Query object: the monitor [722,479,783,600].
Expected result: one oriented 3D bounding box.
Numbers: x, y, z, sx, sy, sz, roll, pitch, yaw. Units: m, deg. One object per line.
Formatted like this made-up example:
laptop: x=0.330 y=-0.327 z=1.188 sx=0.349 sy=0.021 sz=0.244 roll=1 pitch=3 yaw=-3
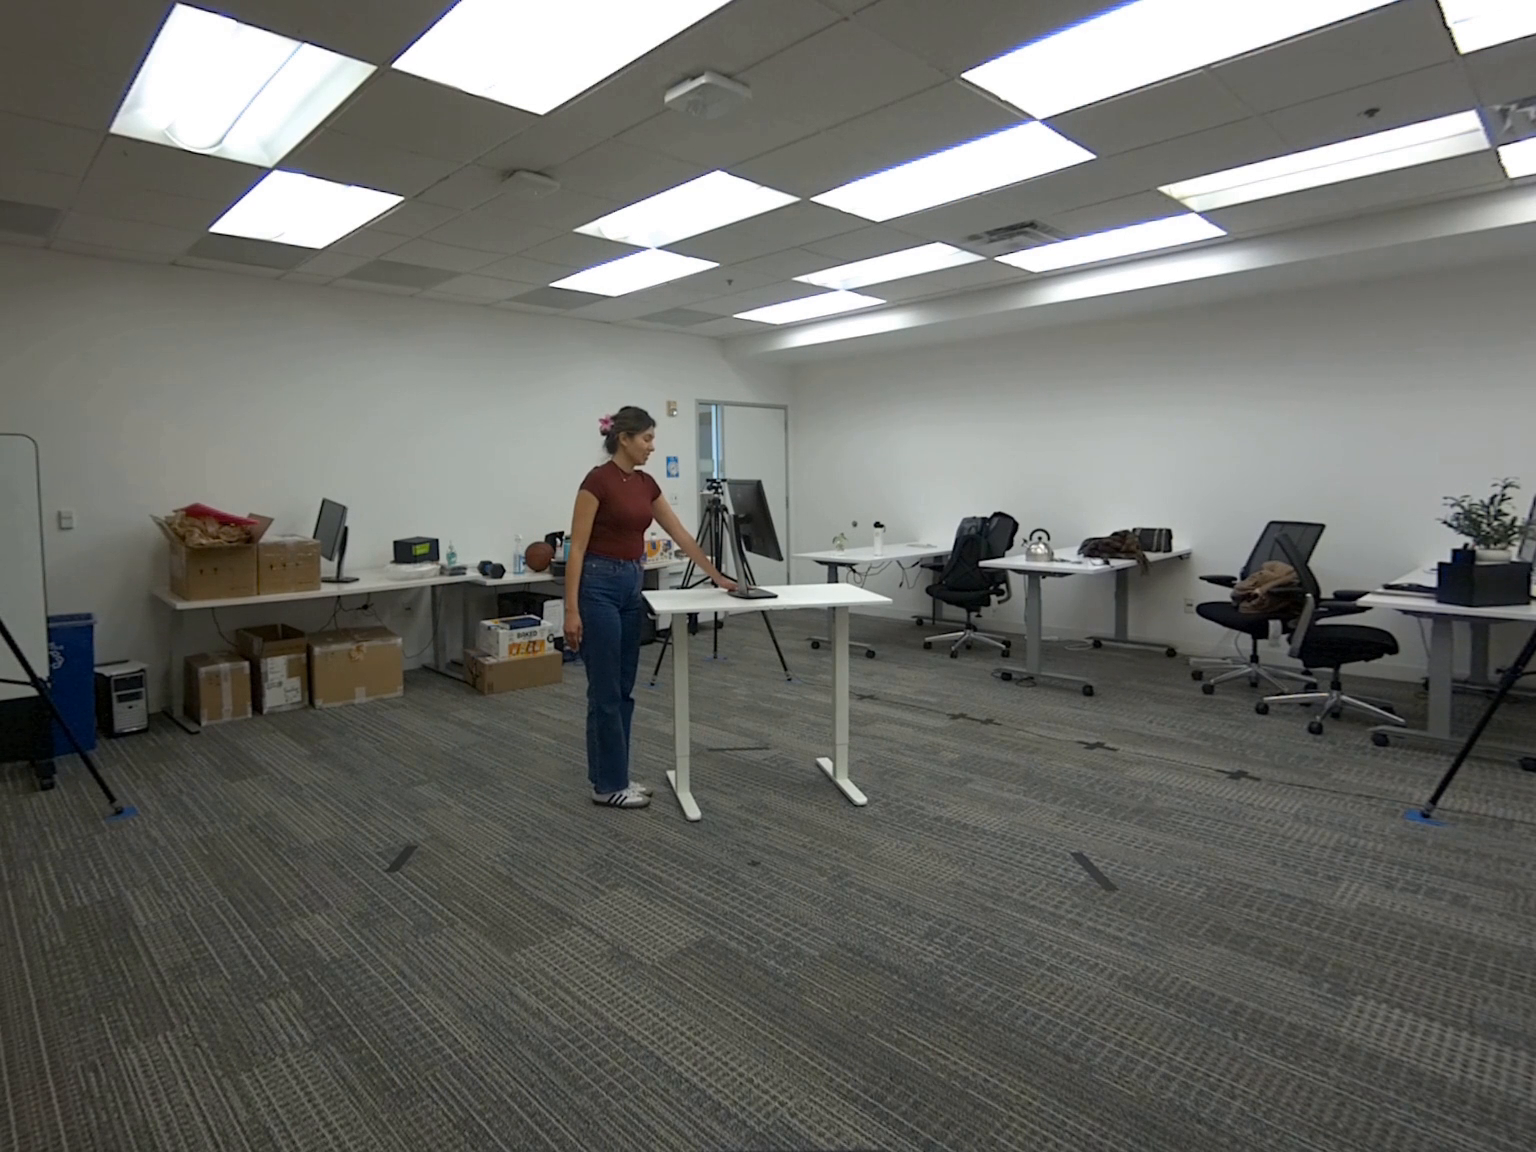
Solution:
monitor: x=-0.098 y=-0.170 z=3.783 sx=0.184 sy=0.520 sz=0.550 roll=-5 pitch=7 yaw=-18
